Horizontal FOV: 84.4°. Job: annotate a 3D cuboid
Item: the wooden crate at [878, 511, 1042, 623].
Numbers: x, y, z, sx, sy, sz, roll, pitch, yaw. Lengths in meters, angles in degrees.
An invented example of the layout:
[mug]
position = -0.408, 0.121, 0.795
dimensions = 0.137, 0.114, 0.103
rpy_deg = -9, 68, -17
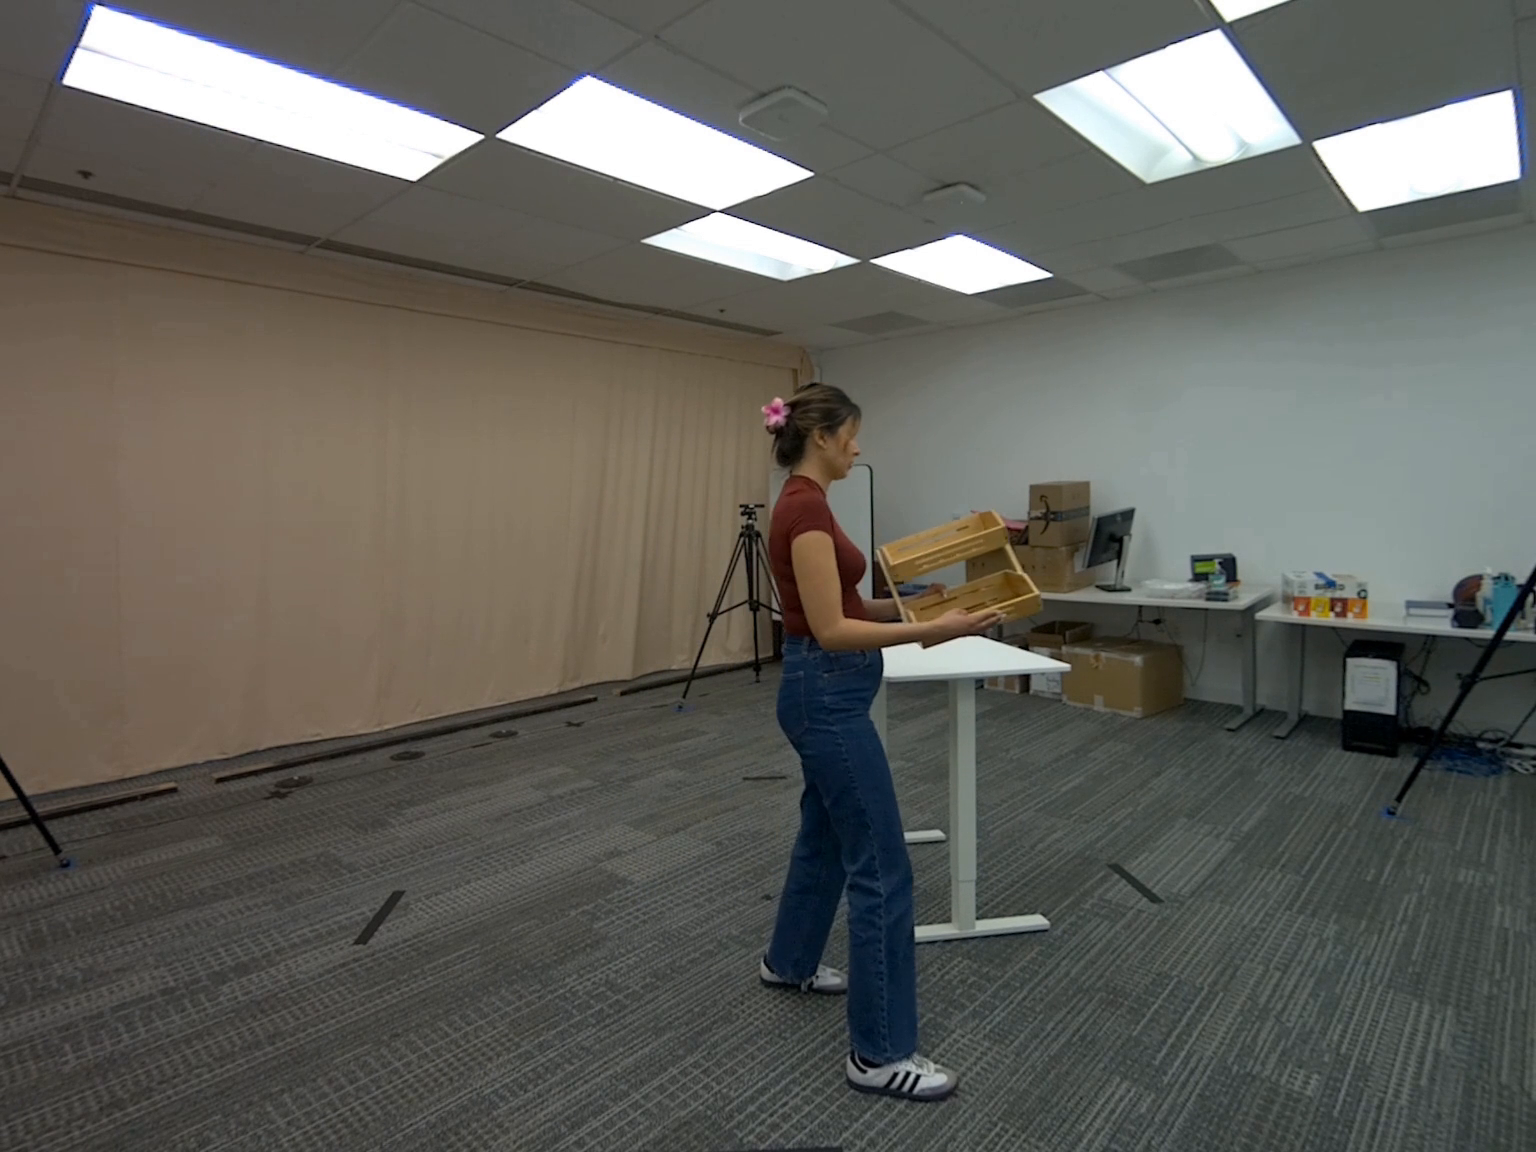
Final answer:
[wooden crate]
position = 0.486, -0.003, 2.148
dimensions = 0.325, 0.273, 0.301
rpy_deg = -19, 0, 4
